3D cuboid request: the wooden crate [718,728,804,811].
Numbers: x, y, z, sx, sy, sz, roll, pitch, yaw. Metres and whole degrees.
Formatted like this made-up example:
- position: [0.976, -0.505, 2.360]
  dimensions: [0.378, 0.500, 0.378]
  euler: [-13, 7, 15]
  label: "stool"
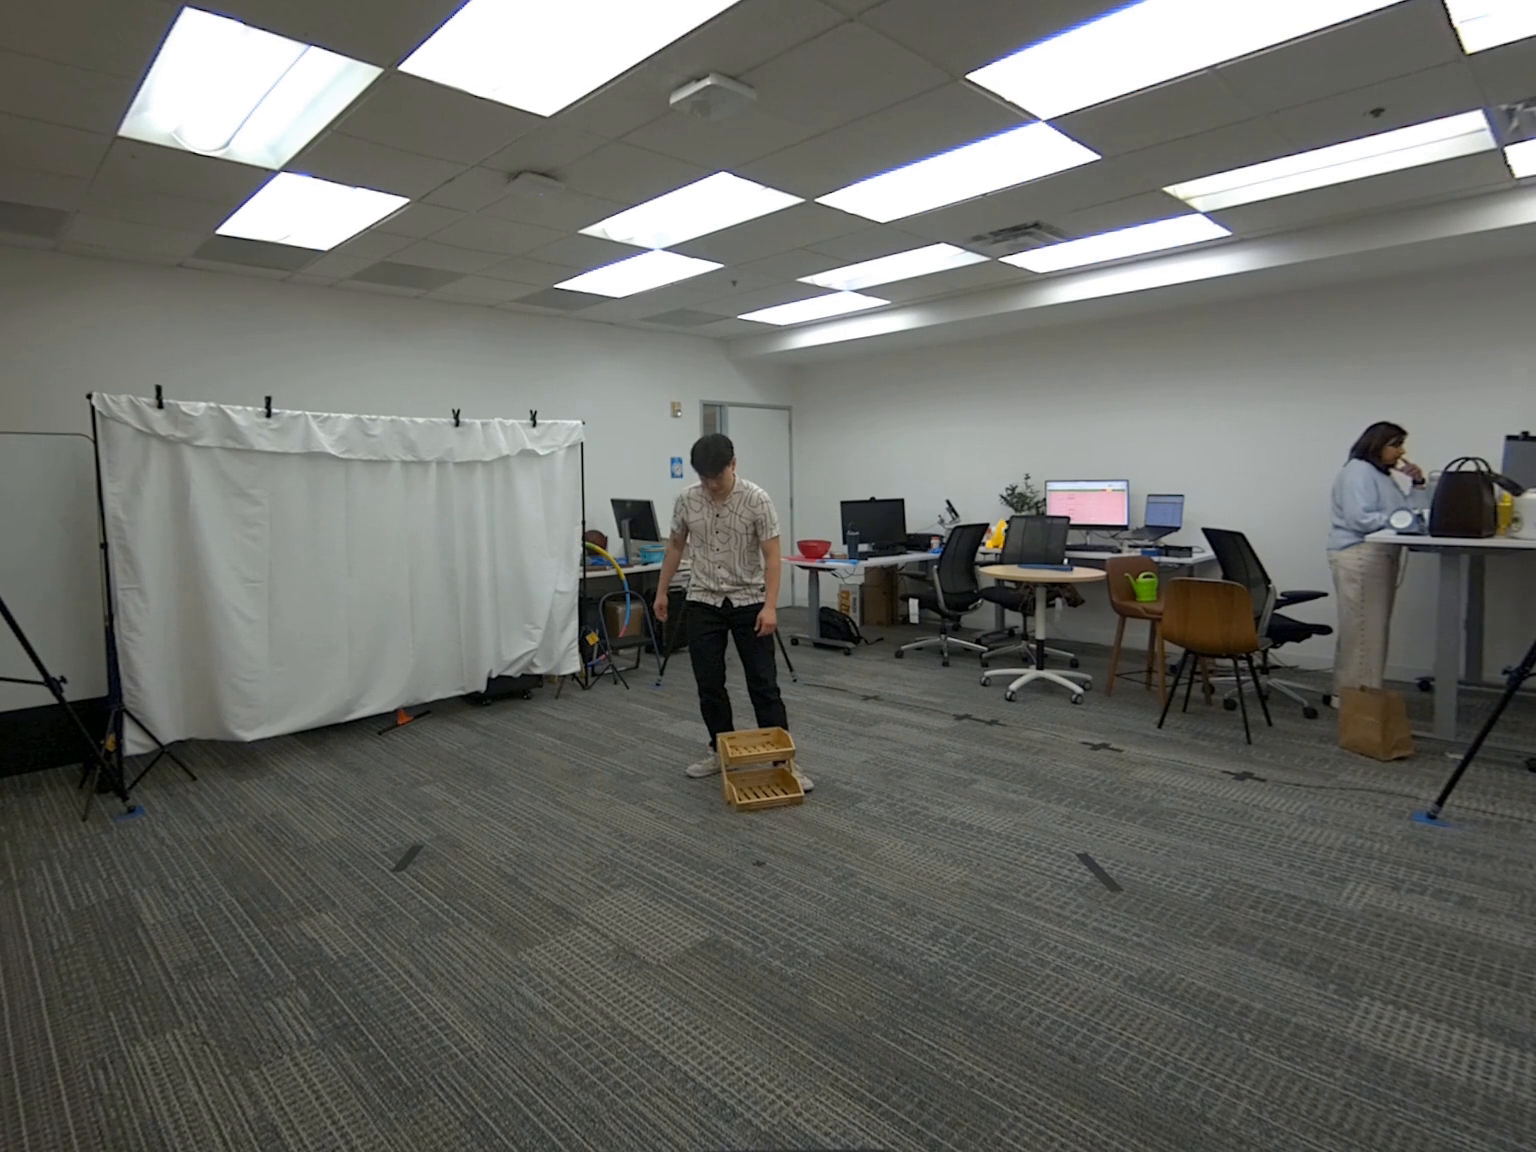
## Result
- position: [-0.042, 0.850, 3.744]
  dimensions: [0.319, 0.272, 0.308]
  euler: [-2, 5, -17]
  label: "wooden crate"
